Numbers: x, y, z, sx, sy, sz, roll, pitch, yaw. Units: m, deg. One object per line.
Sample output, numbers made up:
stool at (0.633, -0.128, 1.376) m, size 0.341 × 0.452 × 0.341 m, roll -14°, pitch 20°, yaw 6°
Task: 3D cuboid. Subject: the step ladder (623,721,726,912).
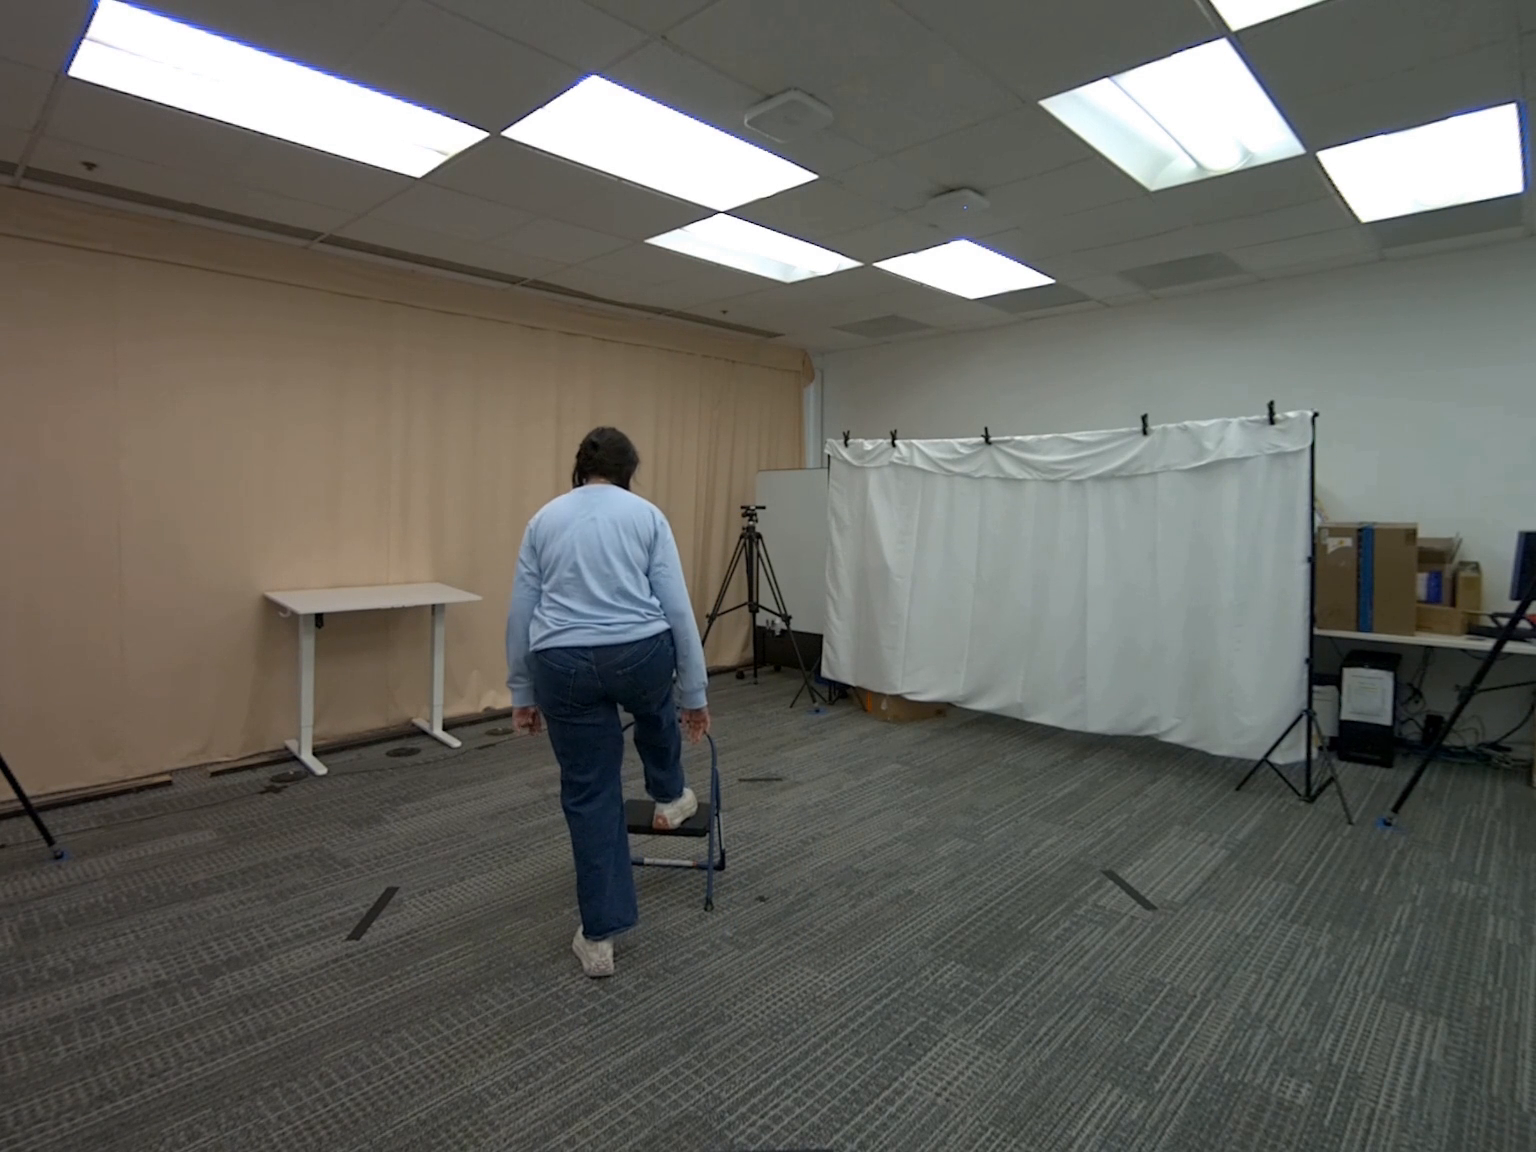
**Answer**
step ladder at (-0.382, 0.838, 3.090) m, size 0.435 × 0.605 × 0.346 m, roll 0°, pitch 3°, yaw 8°
